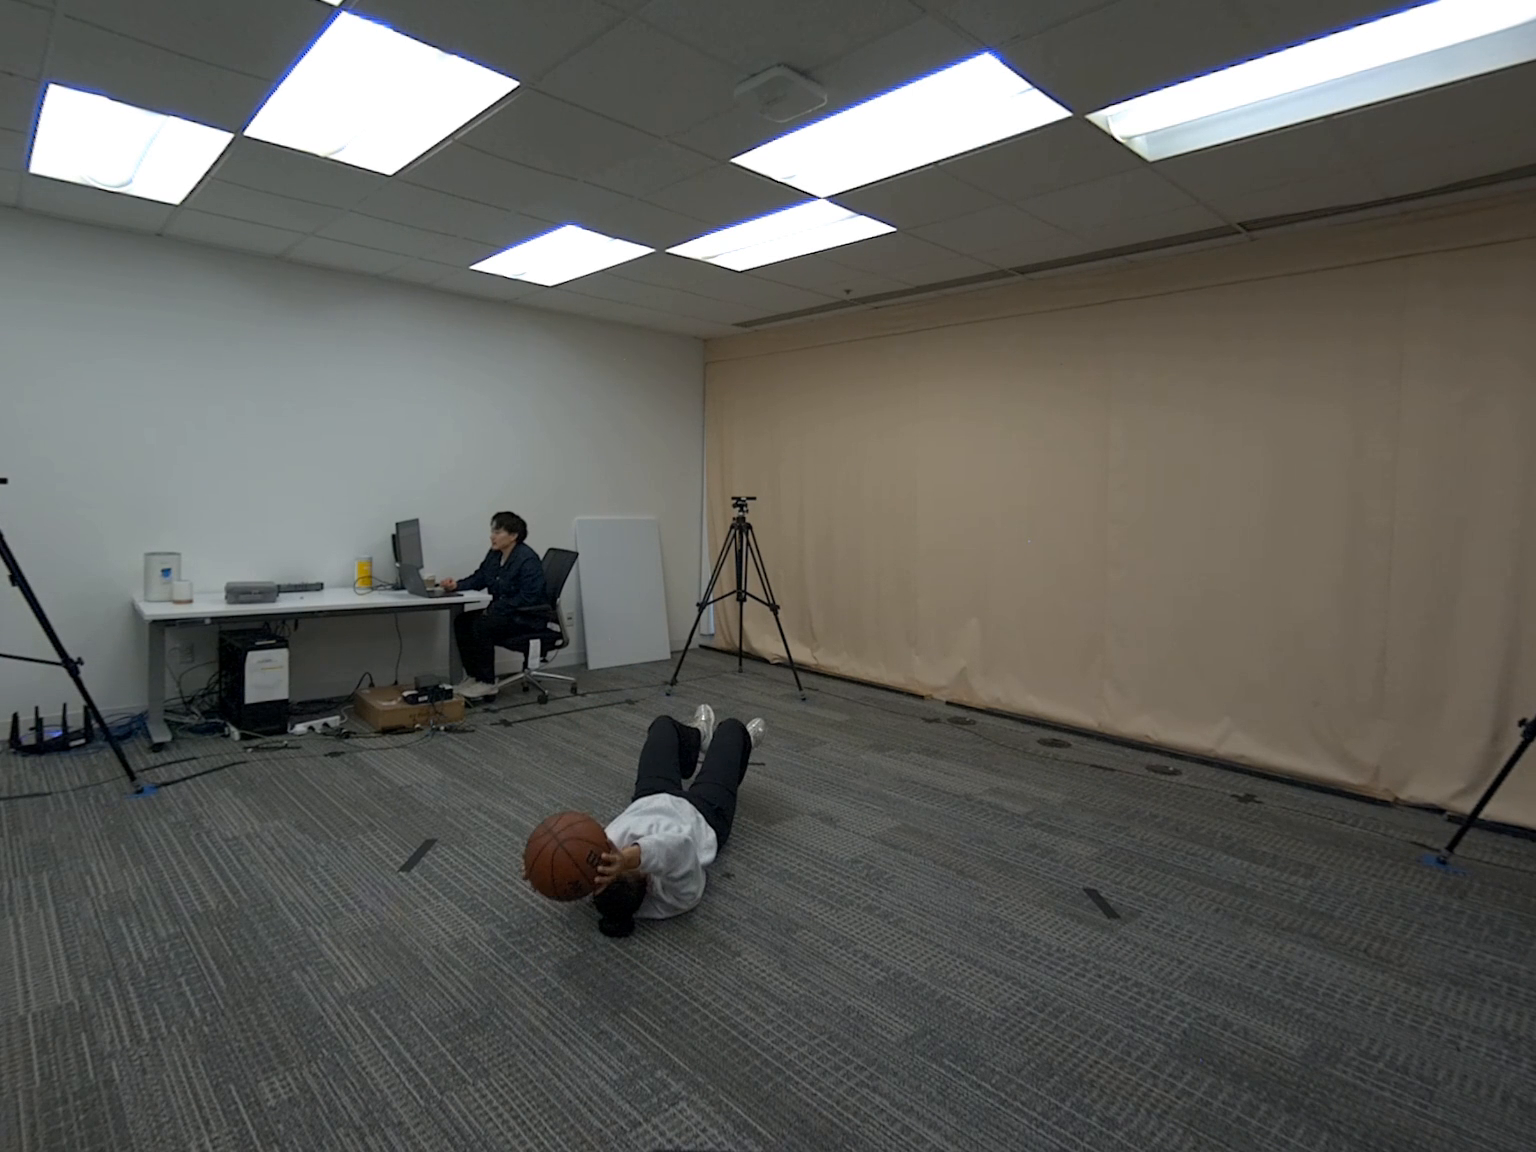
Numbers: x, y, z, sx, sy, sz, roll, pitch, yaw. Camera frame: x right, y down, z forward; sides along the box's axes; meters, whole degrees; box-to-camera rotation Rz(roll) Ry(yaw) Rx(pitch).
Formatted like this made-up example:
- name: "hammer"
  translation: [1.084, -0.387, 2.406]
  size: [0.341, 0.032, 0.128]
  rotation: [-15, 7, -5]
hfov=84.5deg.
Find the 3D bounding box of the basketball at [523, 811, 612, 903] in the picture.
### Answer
- name: "basketball"
  translation: [-0.566, 0.776, 2.359]
  size: [0.236, 0.235, 0.237]
  rotation: [1, 5, -1]
